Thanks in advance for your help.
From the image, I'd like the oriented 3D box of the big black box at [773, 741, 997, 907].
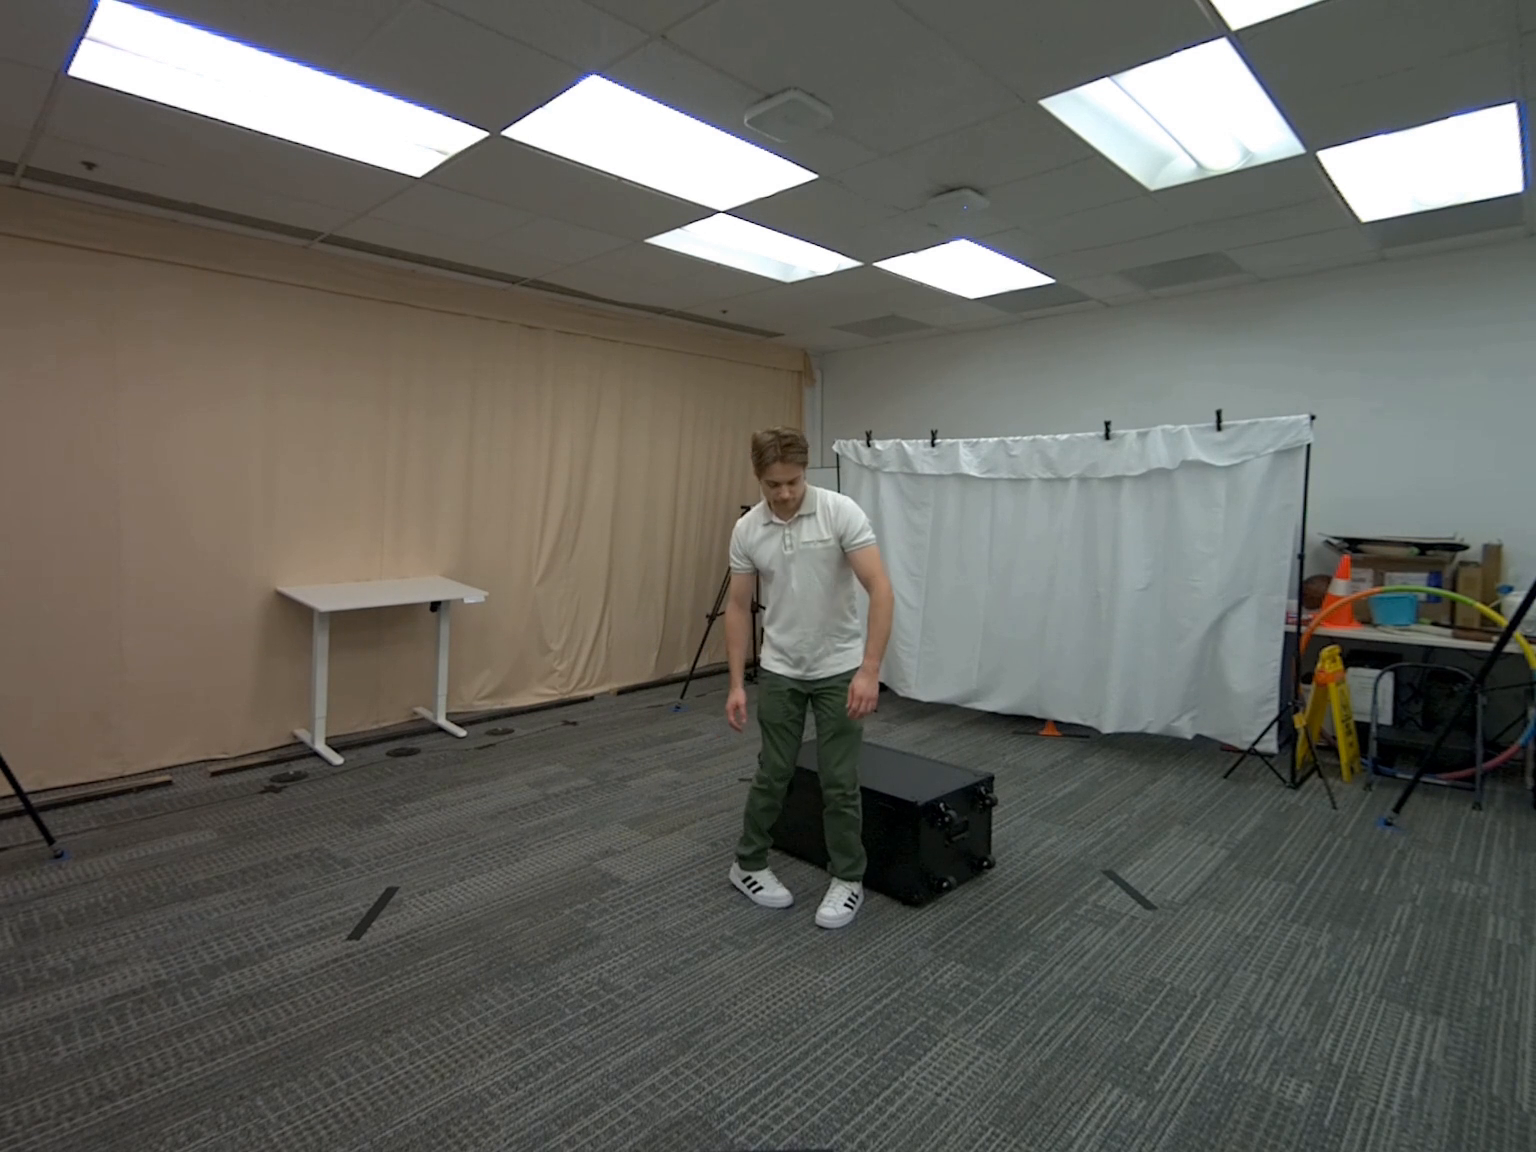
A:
[{"bbox_3d":[0.431,0.921,3.291,0.507,0.384,0.898,-2,4,-44],"label":"big black box"}]
